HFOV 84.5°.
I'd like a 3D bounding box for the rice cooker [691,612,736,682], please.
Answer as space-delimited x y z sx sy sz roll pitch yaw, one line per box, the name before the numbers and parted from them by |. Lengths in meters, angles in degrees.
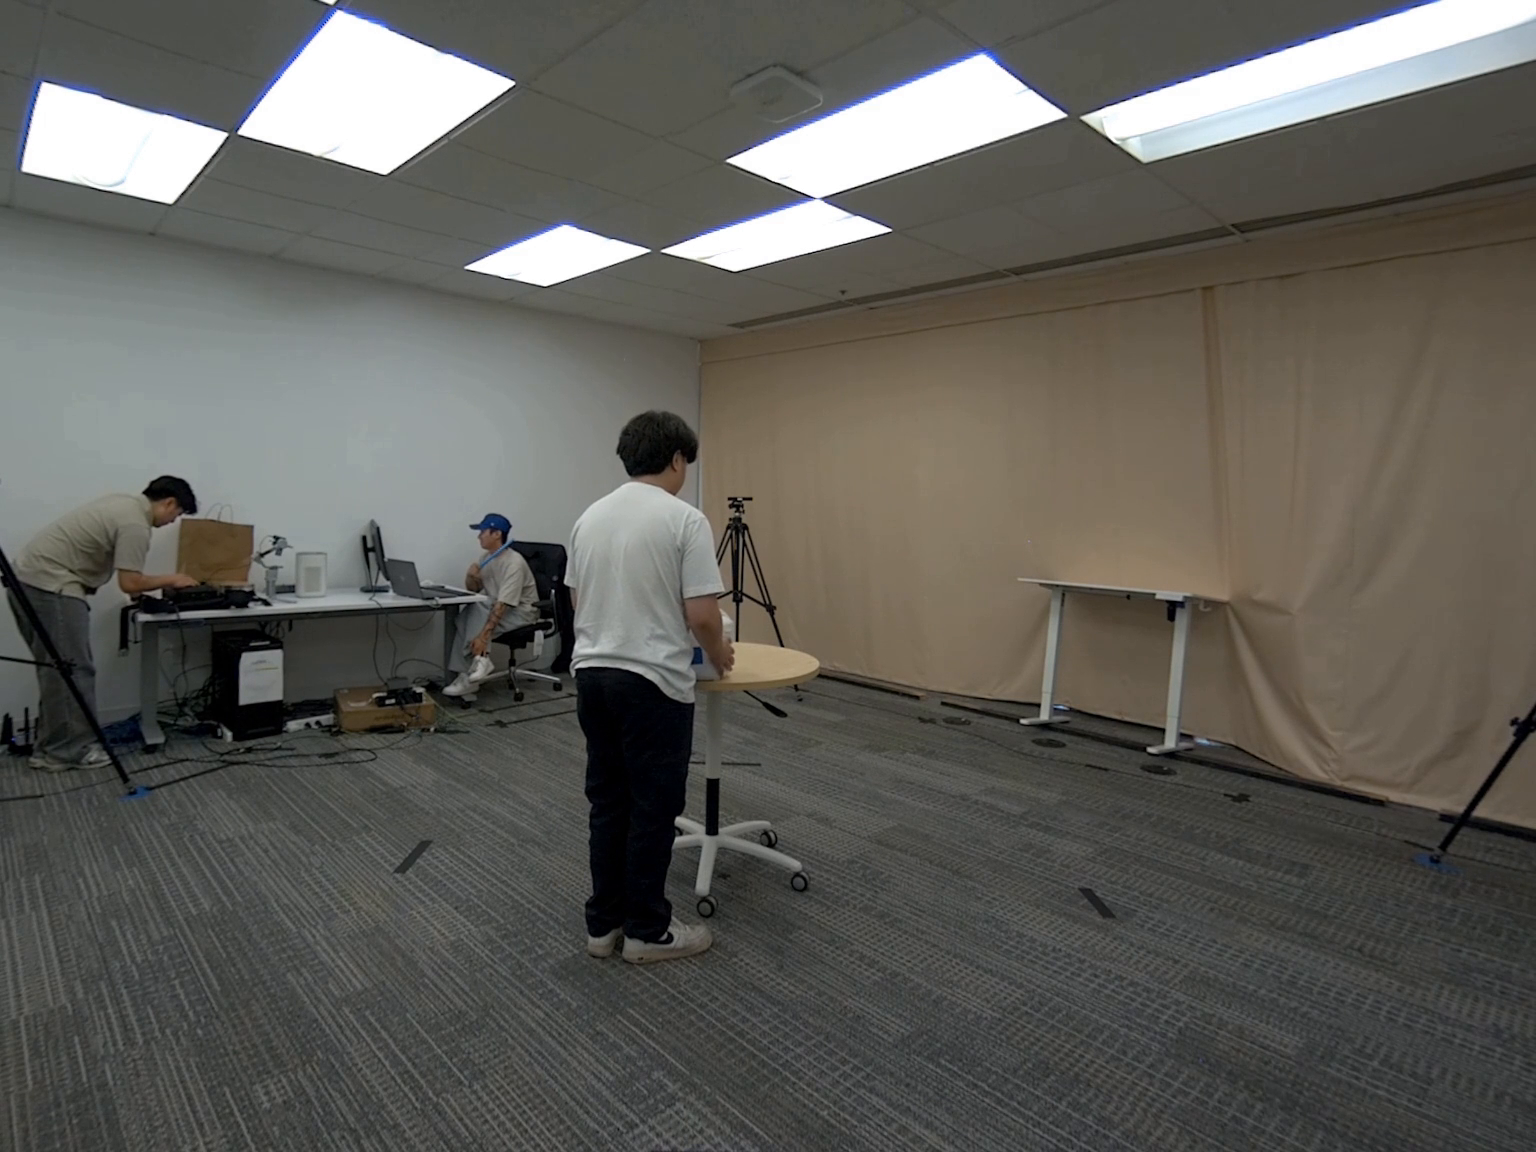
rice cooker | -0.221 0.224 2.816 0.219 0.232 0.219 0 6 -8
